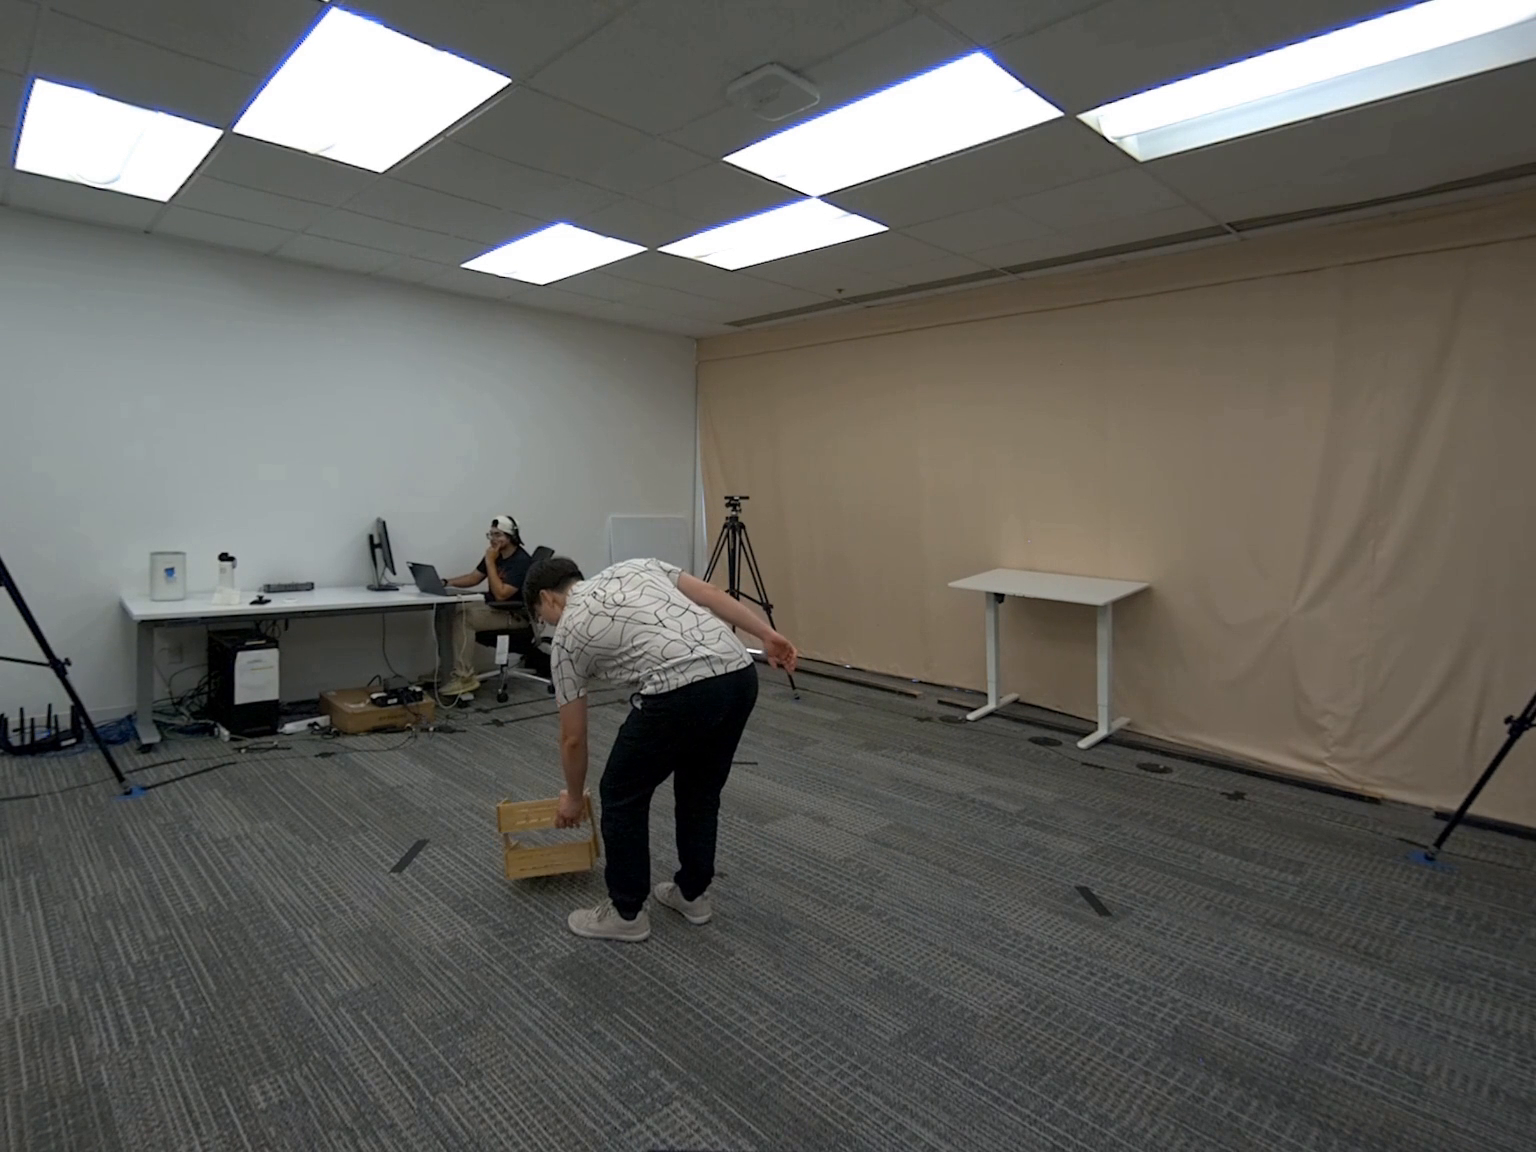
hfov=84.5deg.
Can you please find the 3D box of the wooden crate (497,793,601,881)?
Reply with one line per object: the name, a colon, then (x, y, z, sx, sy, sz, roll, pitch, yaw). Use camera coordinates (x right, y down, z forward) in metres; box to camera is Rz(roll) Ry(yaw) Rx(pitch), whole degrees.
wooden crate: (-0.816, 0.923, 3.023, 0.323, 0.275, 0.301, -7, -9, -7)
